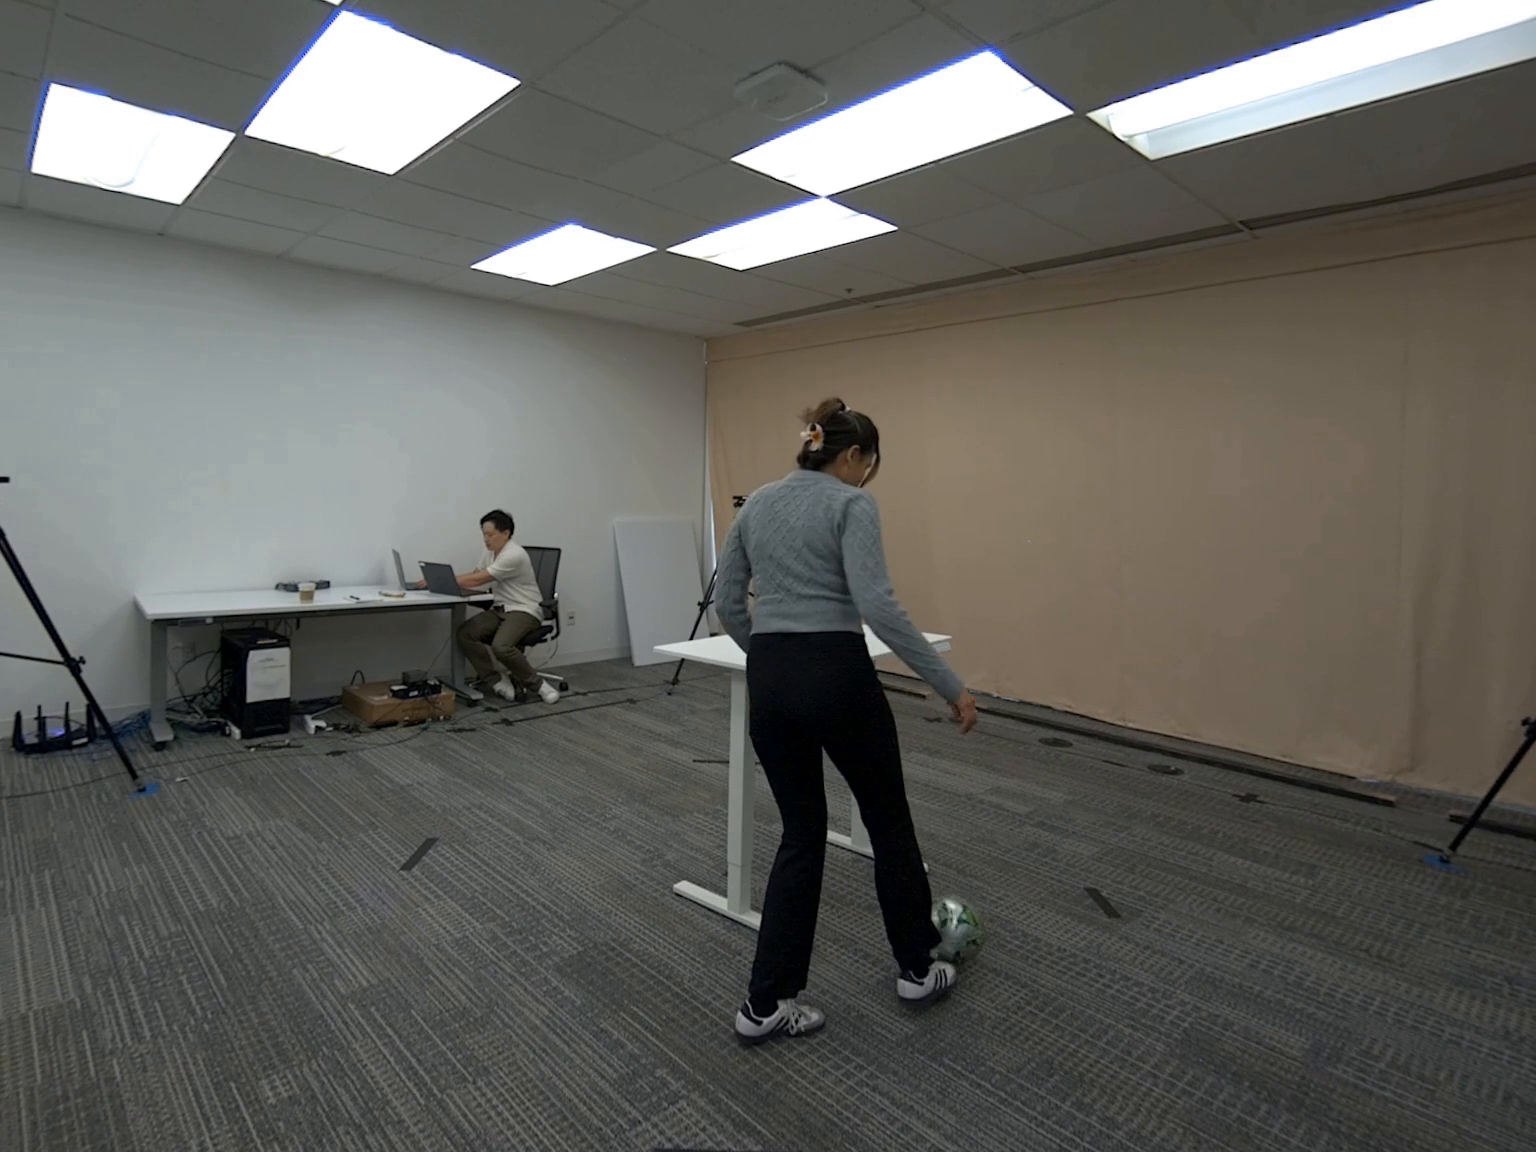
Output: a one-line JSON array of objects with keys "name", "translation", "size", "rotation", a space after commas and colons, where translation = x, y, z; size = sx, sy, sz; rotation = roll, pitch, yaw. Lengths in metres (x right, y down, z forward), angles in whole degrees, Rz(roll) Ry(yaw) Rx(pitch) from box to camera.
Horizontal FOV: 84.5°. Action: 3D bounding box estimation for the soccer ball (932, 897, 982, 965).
[{"name": "soccer ball", "translation": [0.540, 1.071, 2.493], "size": [0.187, 0.187, 0.188], "rotation": [1, 4, -1]}]
